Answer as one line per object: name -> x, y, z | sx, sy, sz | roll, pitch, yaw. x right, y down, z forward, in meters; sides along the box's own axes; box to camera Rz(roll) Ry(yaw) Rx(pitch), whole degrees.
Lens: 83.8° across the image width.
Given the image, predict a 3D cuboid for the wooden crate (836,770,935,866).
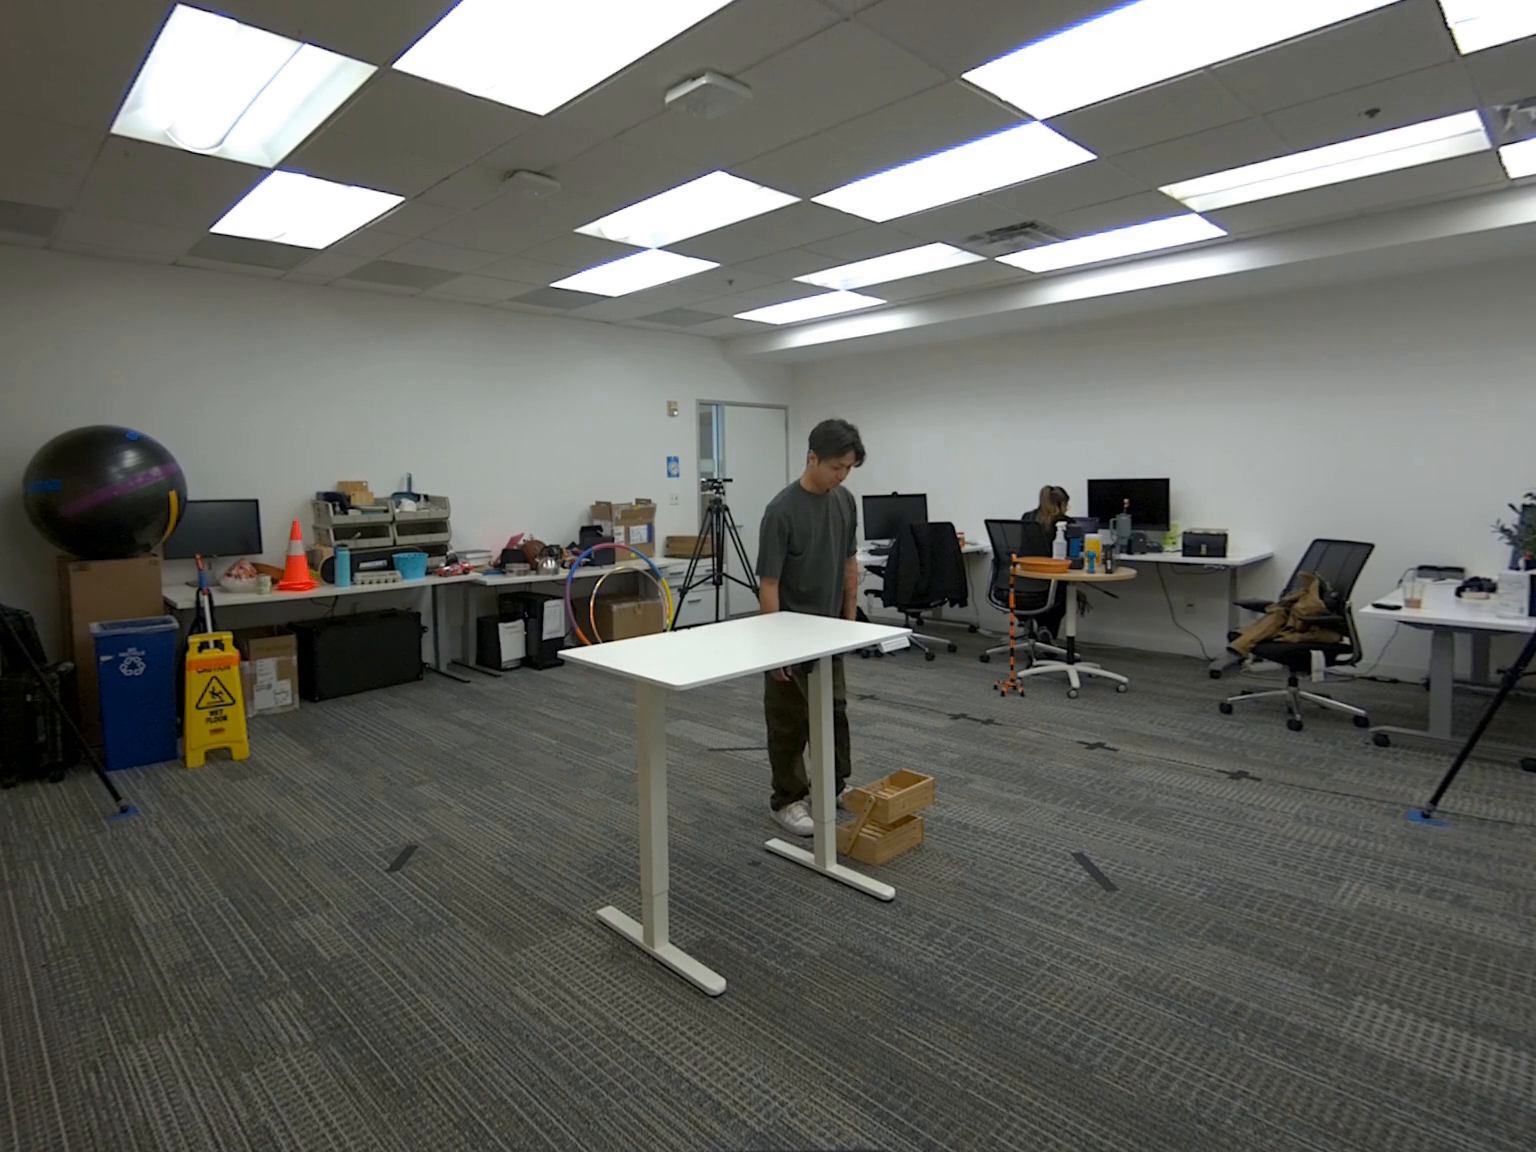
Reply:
wooden crate -> 0.418, 0.888, 3.235 | 0.316, 0.272, 0.311 | -6, 7, -44
